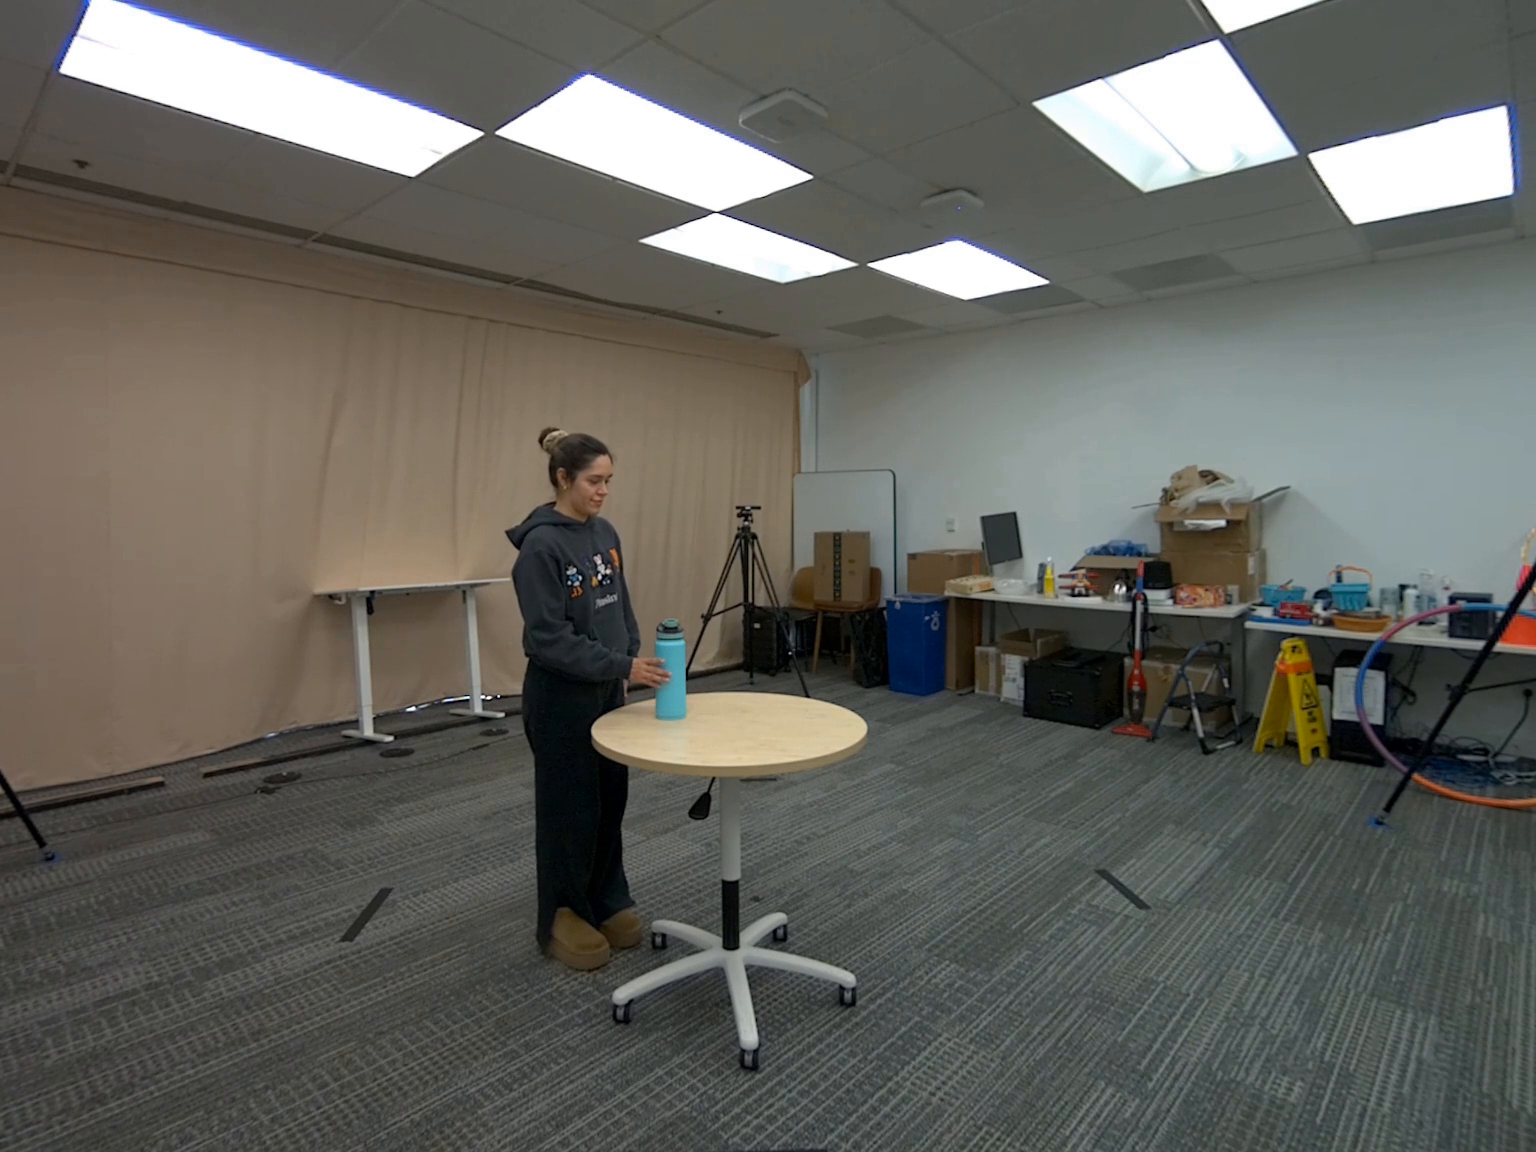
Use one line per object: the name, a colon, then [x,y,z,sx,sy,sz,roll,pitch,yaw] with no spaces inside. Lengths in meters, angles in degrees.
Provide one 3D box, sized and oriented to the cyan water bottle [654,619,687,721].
cyan water bottle: [-0.279,0.273,2.439,0.092,0.283,0.092,-4,2,-2]
